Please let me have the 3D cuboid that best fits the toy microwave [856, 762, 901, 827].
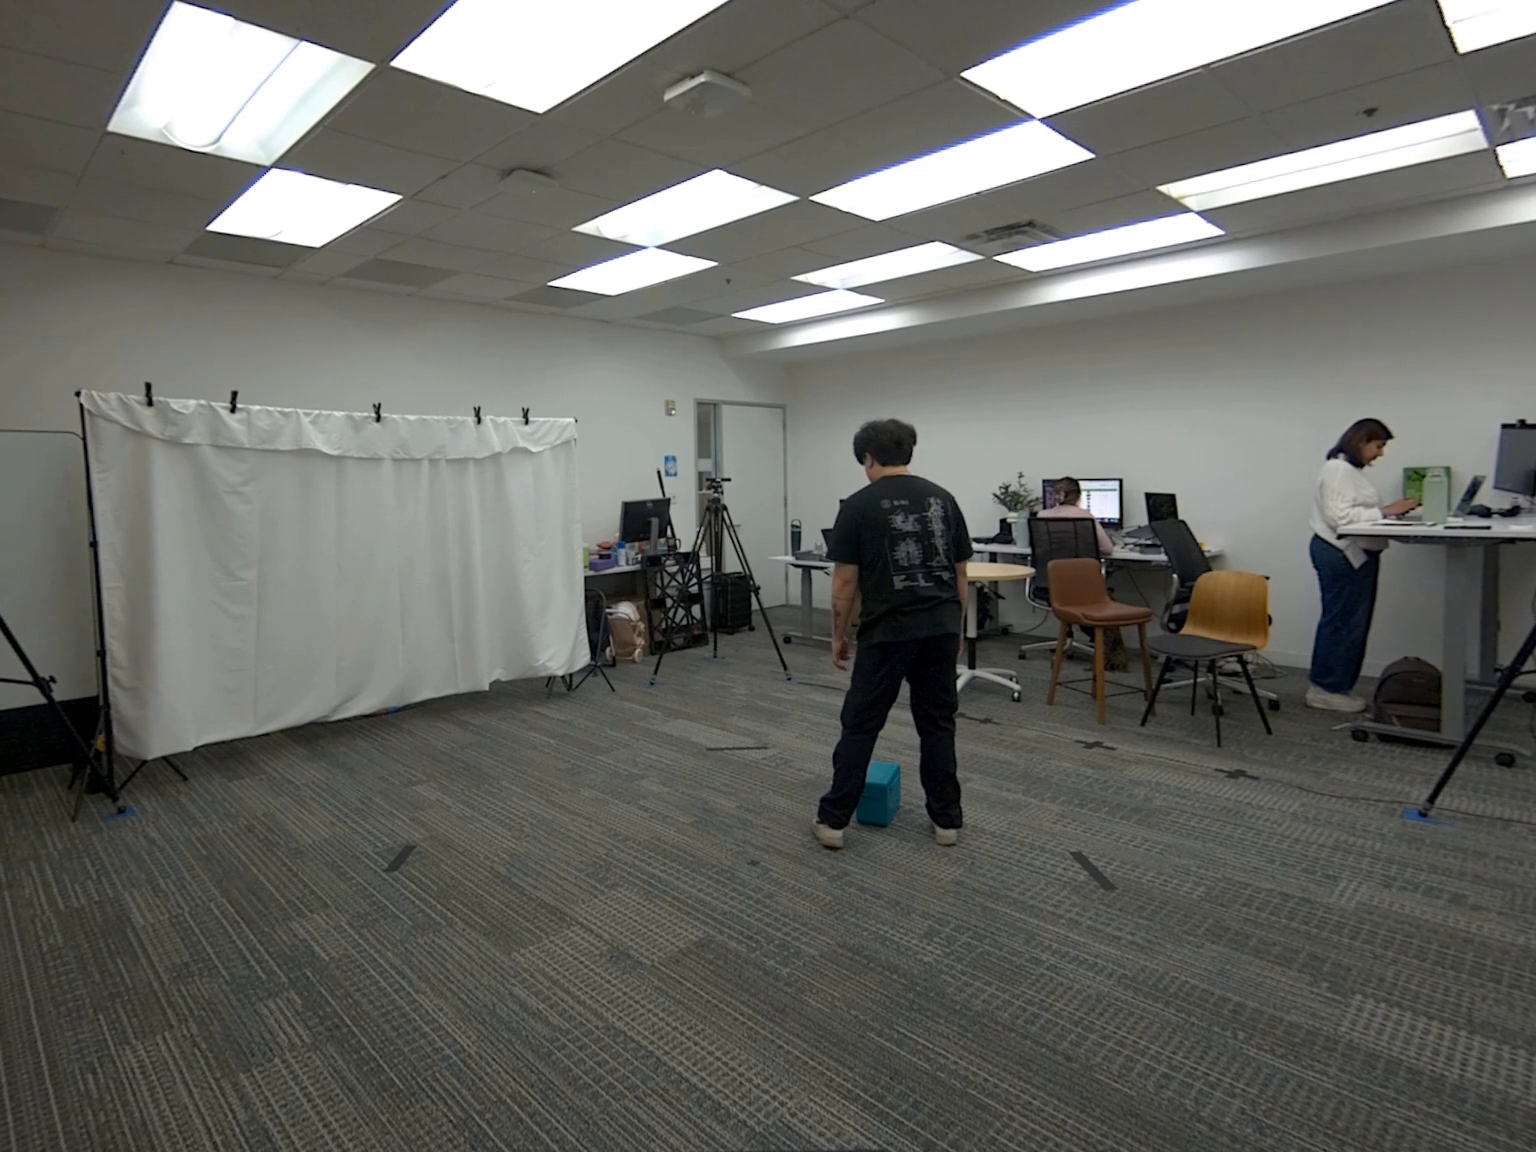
[{"bbox_3d":[0.452,0.893,3.532,0.156,0.183,0.281,2,6,22],"label":"toy microwave"}]
